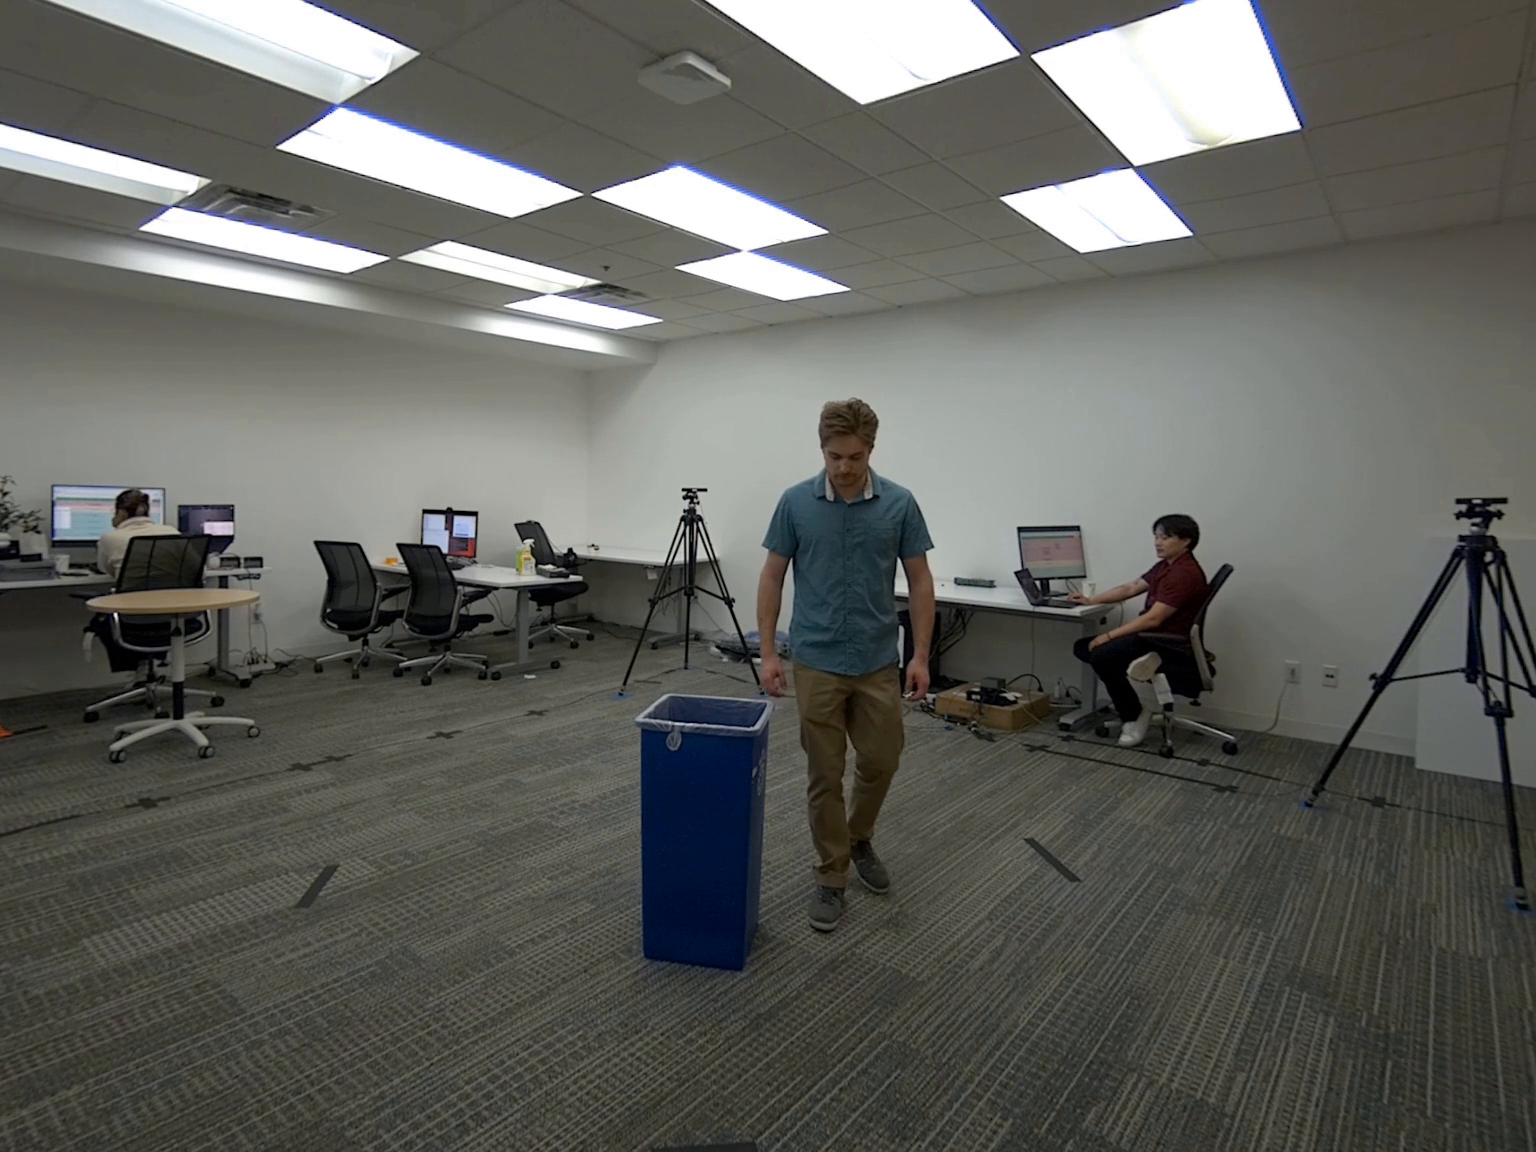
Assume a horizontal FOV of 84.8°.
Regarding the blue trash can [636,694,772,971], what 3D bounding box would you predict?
[{"bbox_3d":[-0.202,0.762,2.610,0.383,0.711,0.371,2,3,10],"label":"blue trash can"}]
